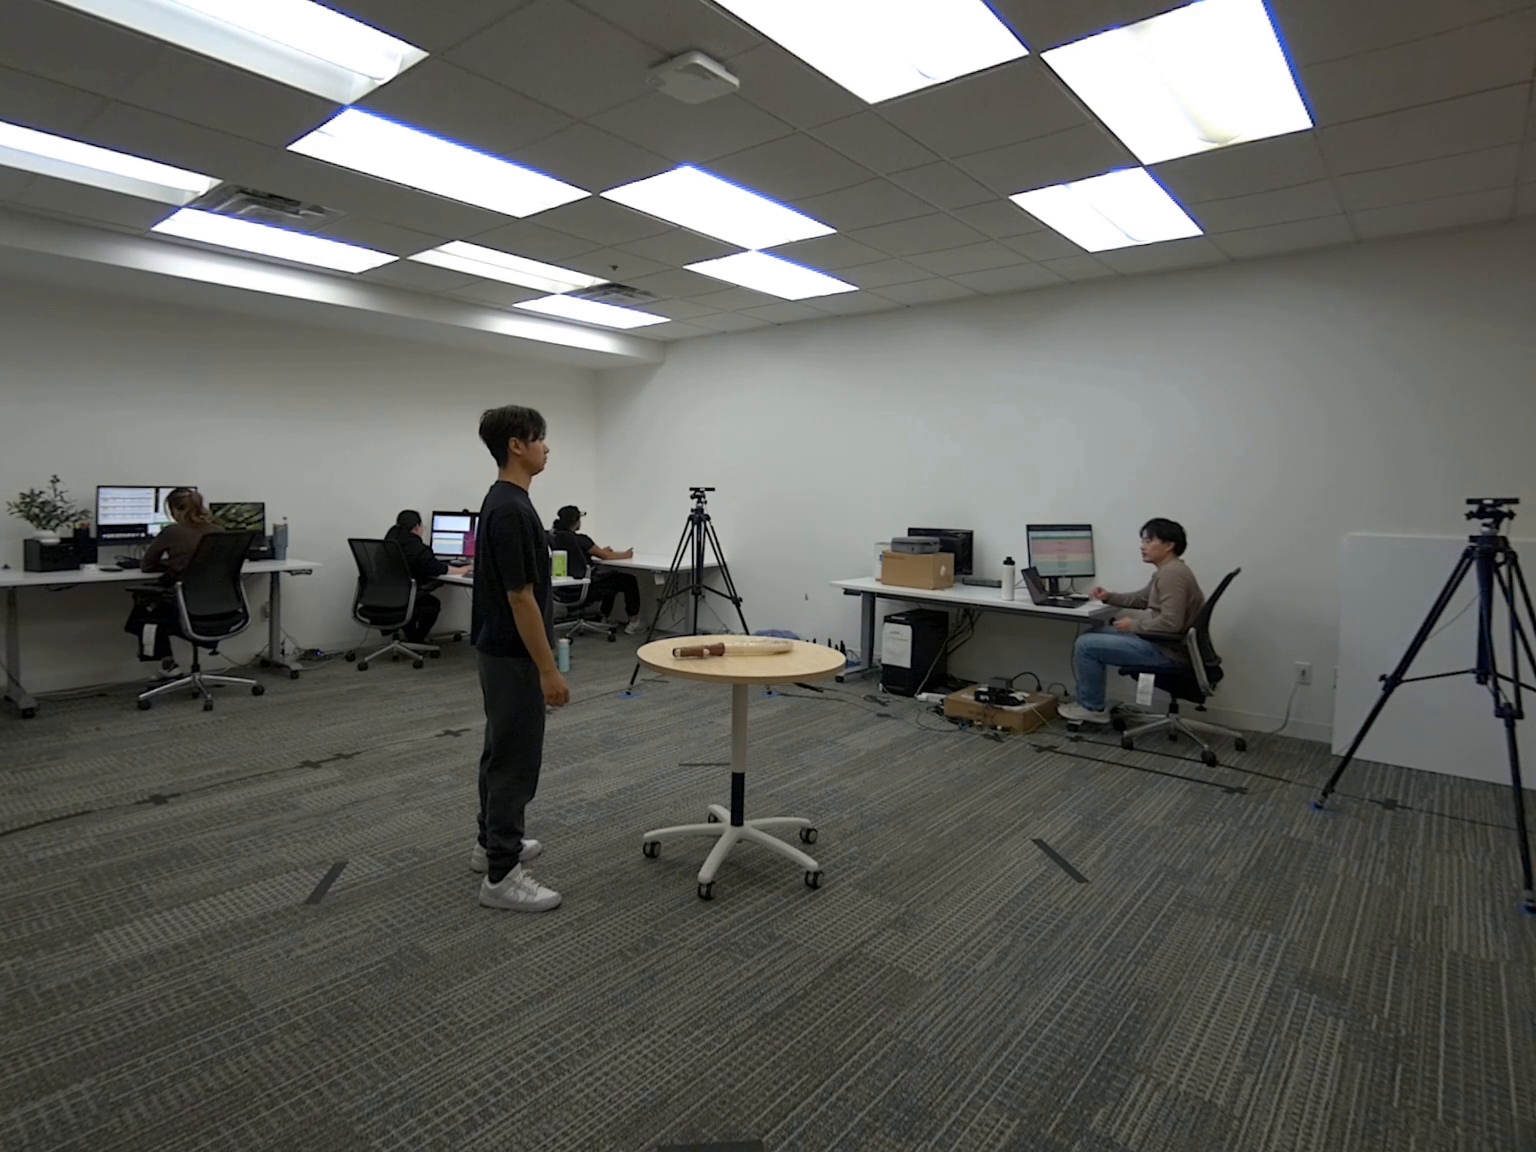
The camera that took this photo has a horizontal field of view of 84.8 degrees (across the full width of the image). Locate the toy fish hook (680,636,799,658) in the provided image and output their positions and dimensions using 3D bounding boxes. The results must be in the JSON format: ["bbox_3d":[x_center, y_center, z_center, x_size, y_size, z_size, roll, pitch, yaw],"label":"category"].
[{"bbox_3d":[-0.161,0.270,3.153,0.494,0.048,0.230,0,2,-27],"label":"toy fish hook"}]
